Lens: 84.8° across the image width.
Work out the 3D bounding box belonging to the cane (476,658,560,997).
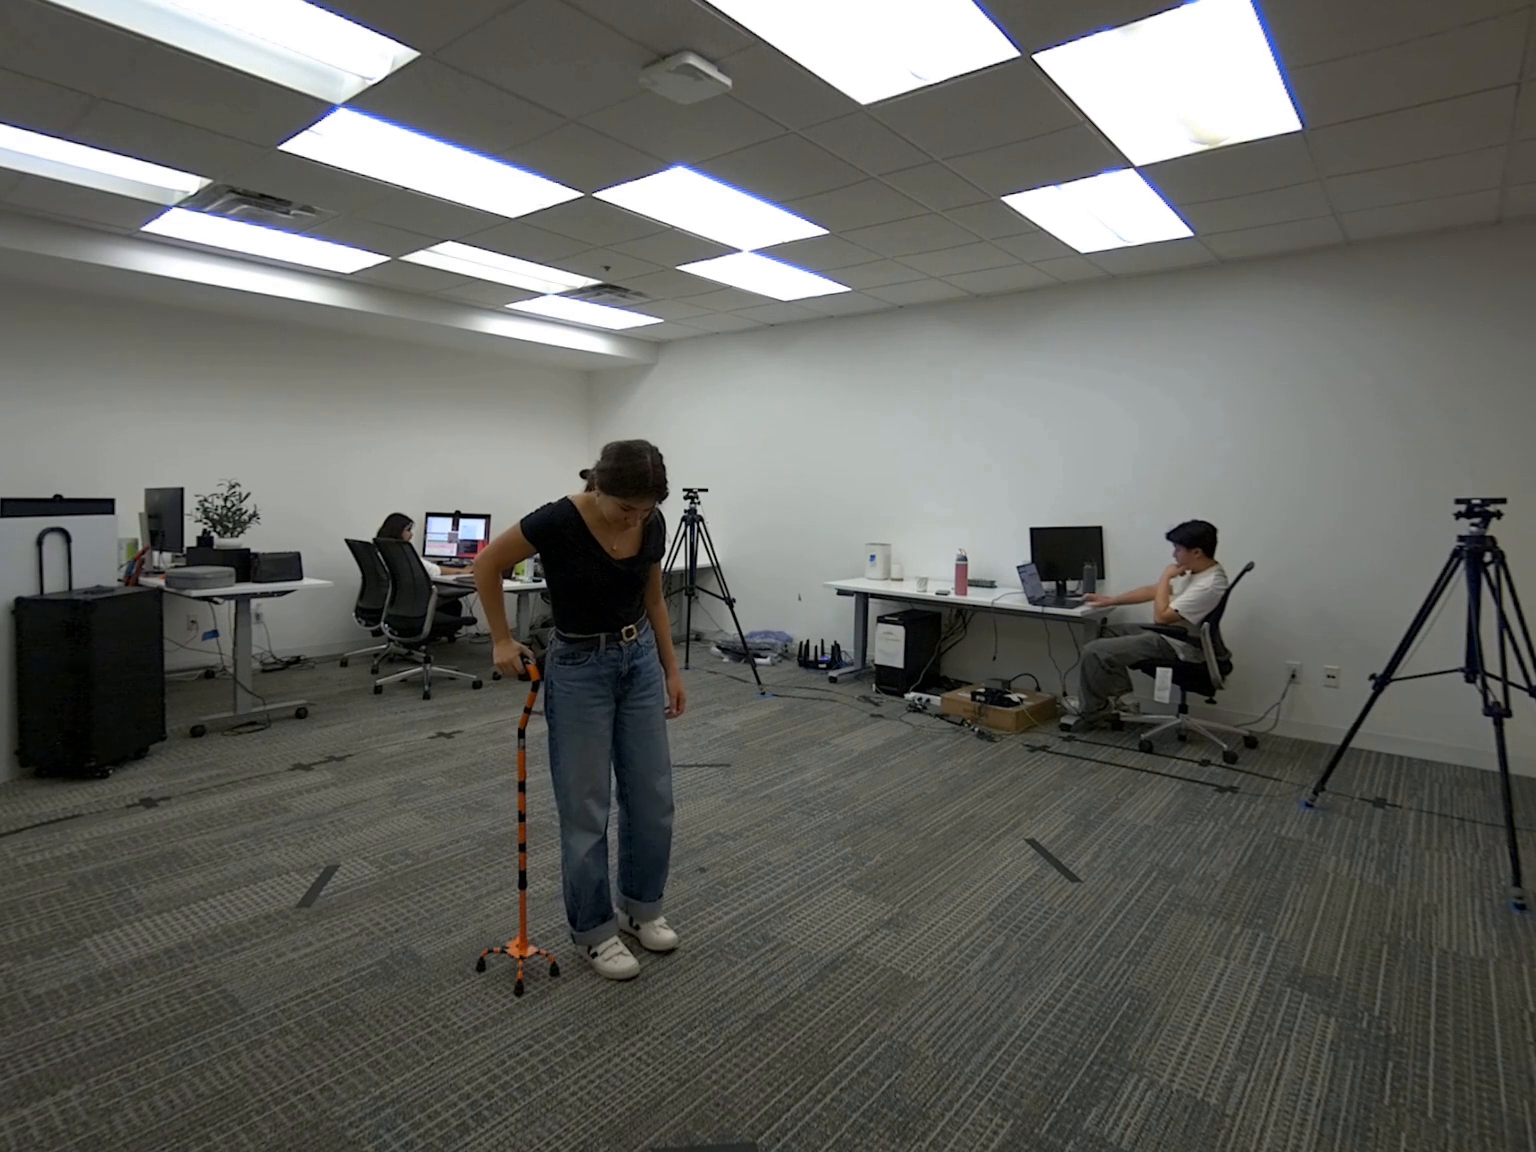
[{"bbox_3d":[-0.720,0.677,2.417,0.213,0.906,0.147,3,3,37],"label":"cane"}]
